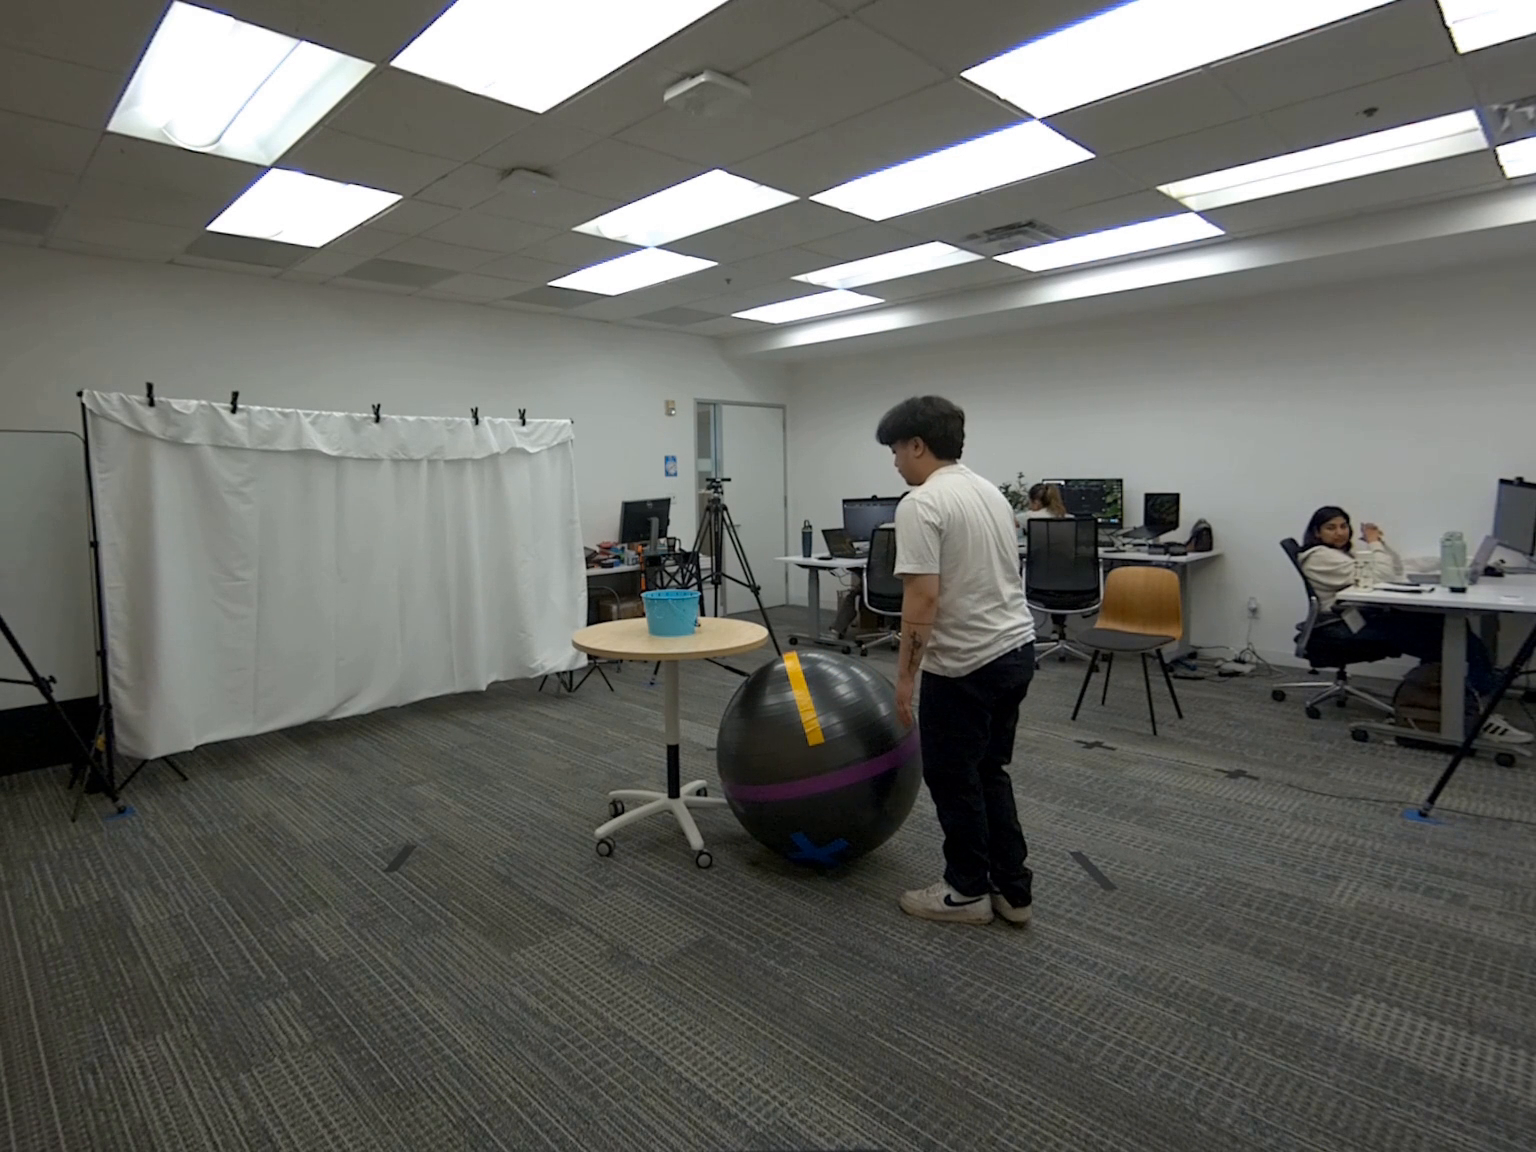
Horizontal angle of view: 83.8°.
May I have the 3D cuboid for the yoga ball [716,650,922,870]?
[{"bbox_3d":[0.185,0.668,3.154,0.757,0.755,0.762,-1,5,-2],"label":"yoga ball"}]
